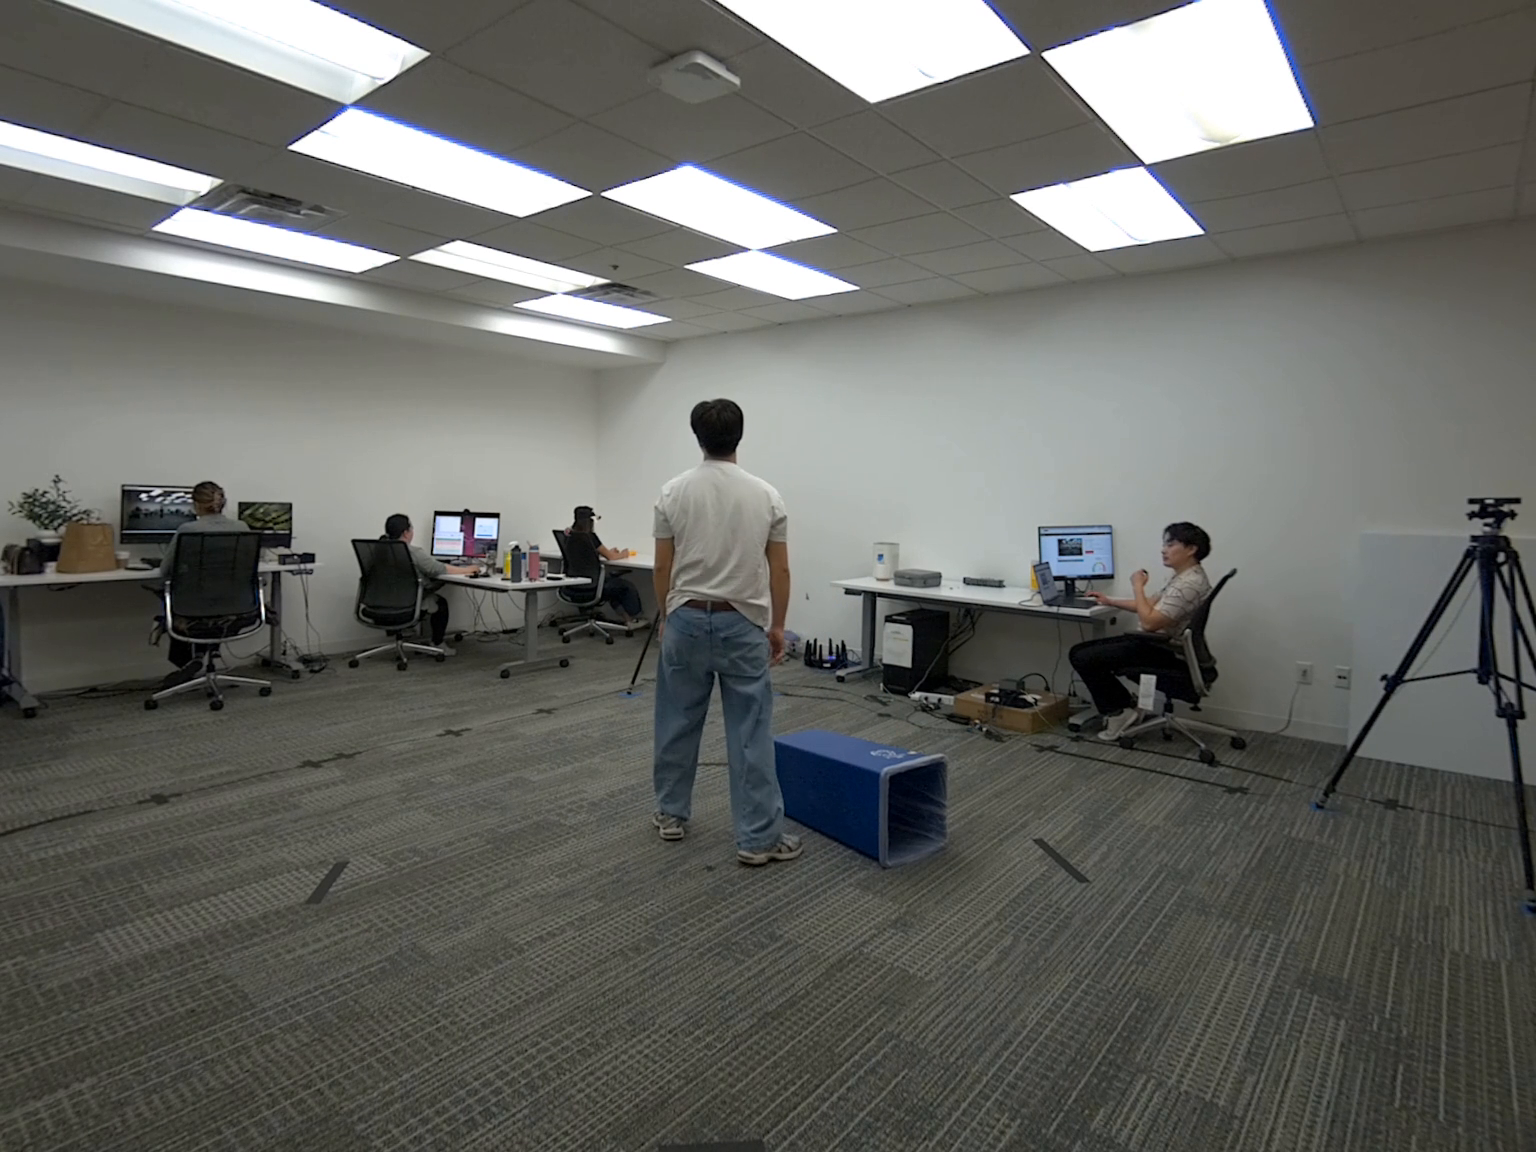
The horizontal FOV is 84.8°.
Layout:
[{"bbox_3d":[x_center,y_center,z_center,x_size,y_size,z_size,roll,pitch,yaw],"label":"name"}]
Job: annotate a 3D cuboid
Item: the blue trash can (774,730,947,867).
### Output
[{"bbox_3d":[0.328,0.864,3.510,0.367,0.373,0.737,-2,5,-39],"label":"blue trash can"}]
